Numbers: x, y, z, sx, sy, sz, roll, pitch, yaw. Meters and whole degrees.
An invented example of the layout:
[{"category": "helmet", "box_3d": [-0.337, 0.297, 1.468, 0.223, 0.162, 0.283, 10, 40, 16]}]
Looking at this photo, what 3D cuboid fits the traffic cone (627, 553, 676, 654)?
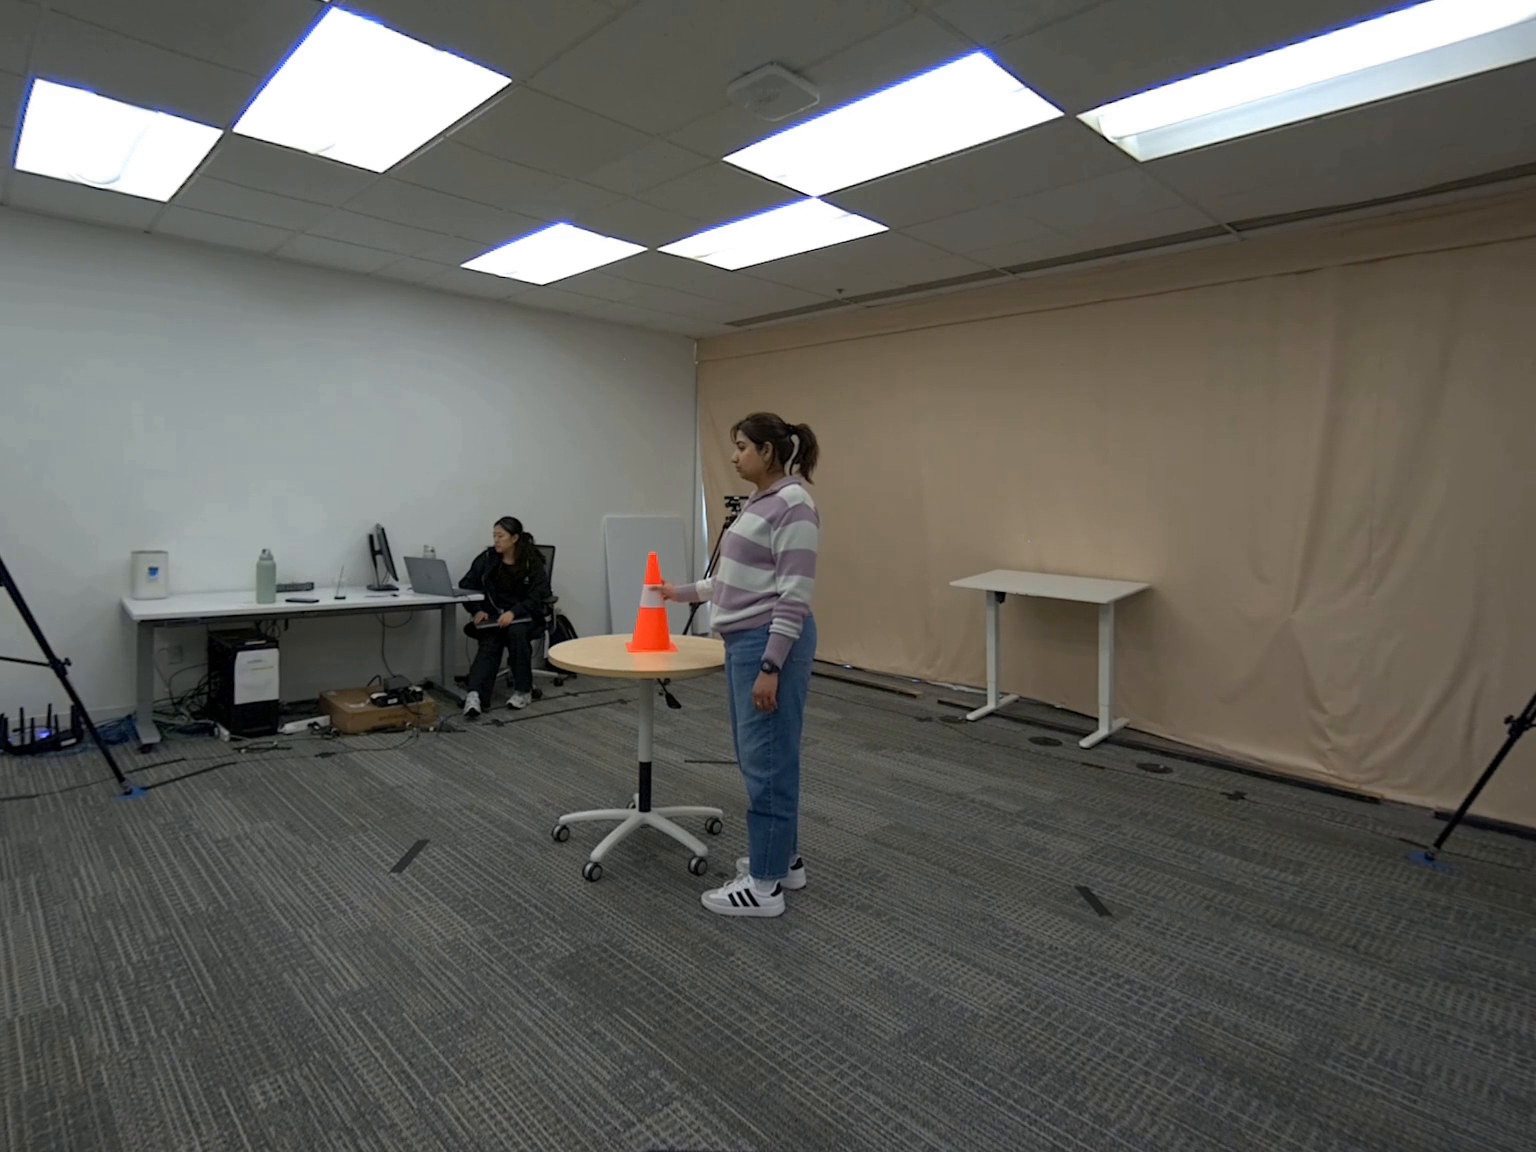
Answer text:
[{"category": "traffic cone", "box_3d": [-0.468, 0.100, 3.365, 0.202, 0.383, 0.206, 1, 4, -16]}]
